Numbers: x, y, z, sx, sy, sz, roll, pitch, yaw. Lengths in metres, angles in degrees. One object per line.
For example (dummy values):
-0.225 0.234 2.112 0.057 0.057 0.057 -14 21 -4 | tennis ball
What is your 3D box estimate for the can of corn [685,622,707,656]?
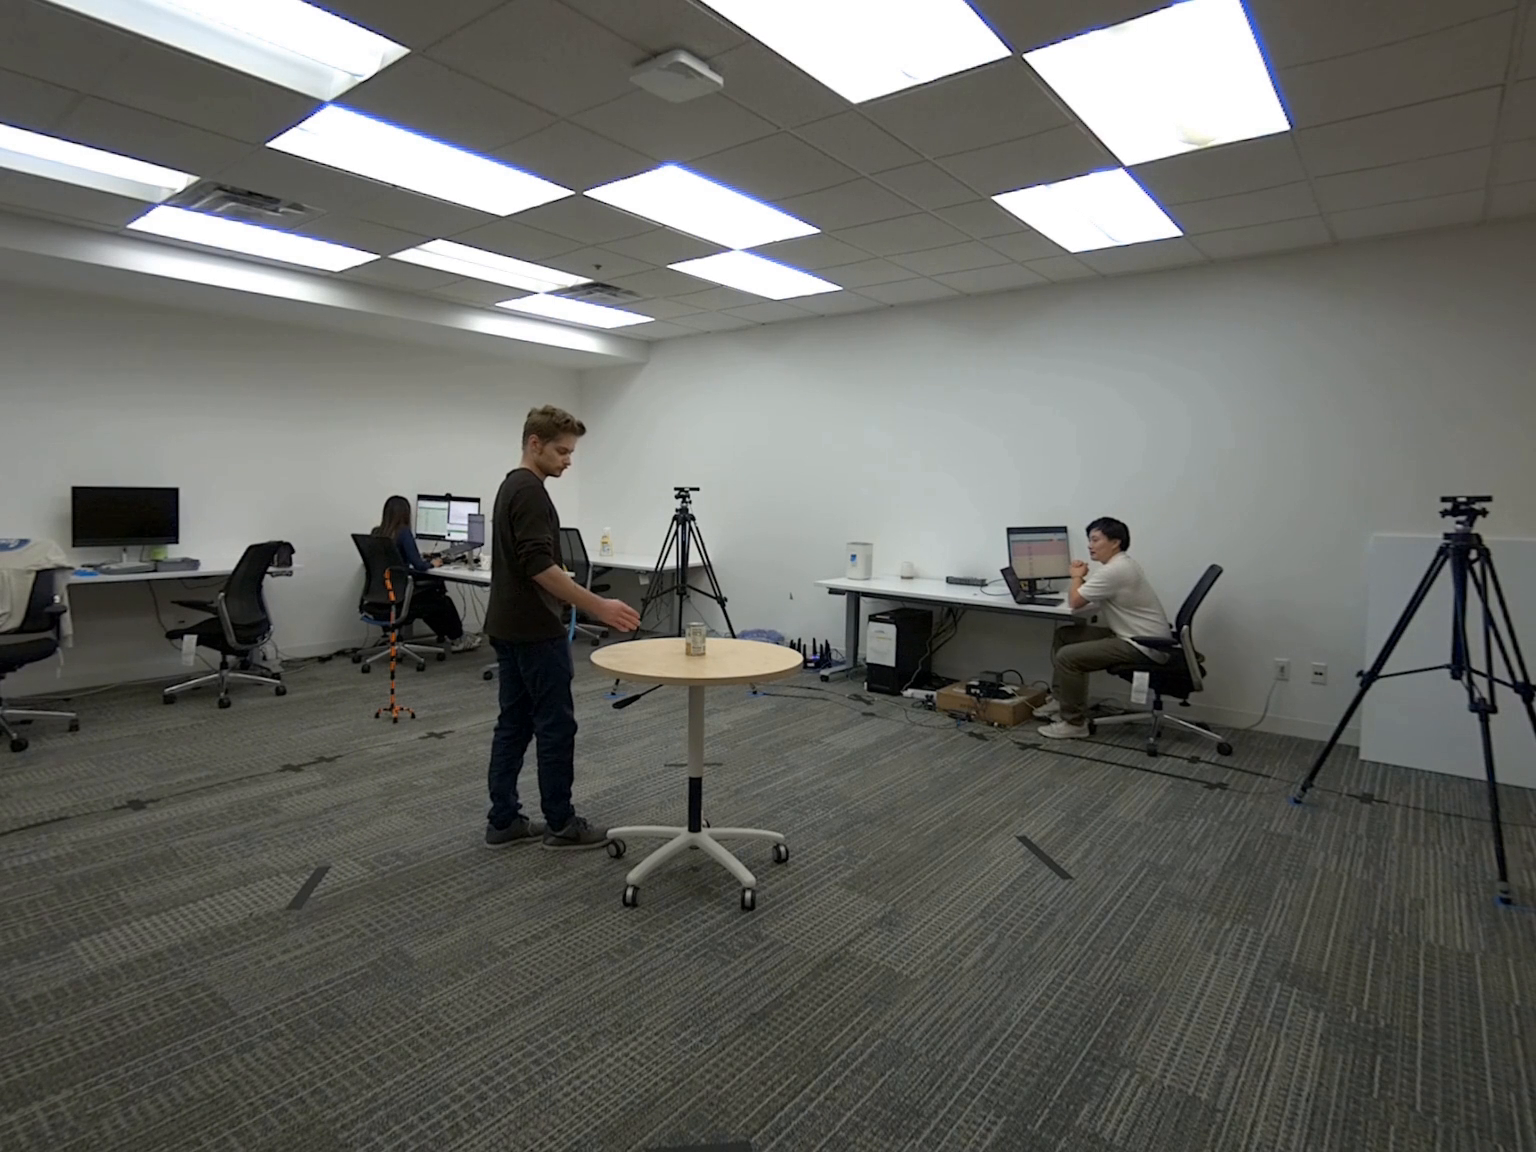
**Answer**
-0.275 0.226 3.096 0.074 0.111 0.074 2 4 -2 | can of corn
